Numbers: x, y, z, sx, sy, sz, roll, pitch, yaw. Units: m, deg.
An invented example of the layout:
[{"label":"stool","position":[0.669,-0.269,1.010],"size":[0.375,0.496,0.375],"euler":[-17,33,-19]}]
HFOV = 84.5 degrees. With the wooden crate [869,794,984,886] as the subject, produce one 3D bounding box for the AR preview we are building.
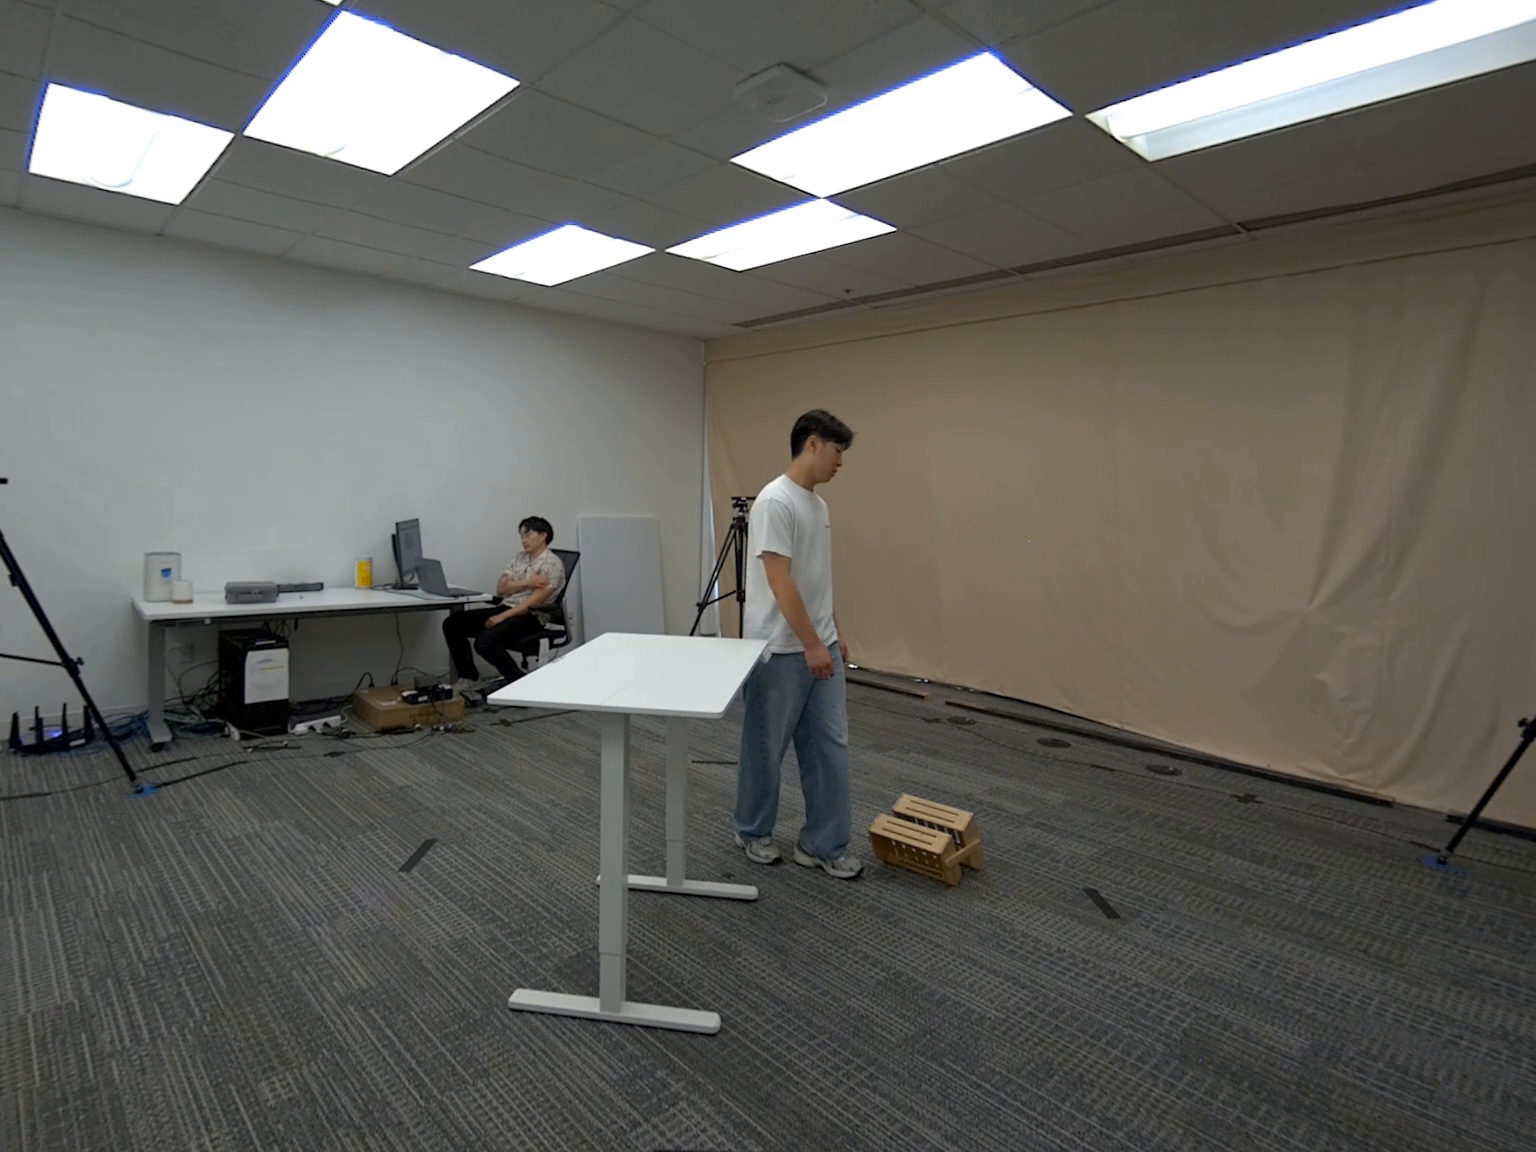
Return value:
[{"label":"wooden crate","position":[0.593,1.028,3.194],"size":[0.332,0.296,0.272],"euler":[4,33,40]}]
